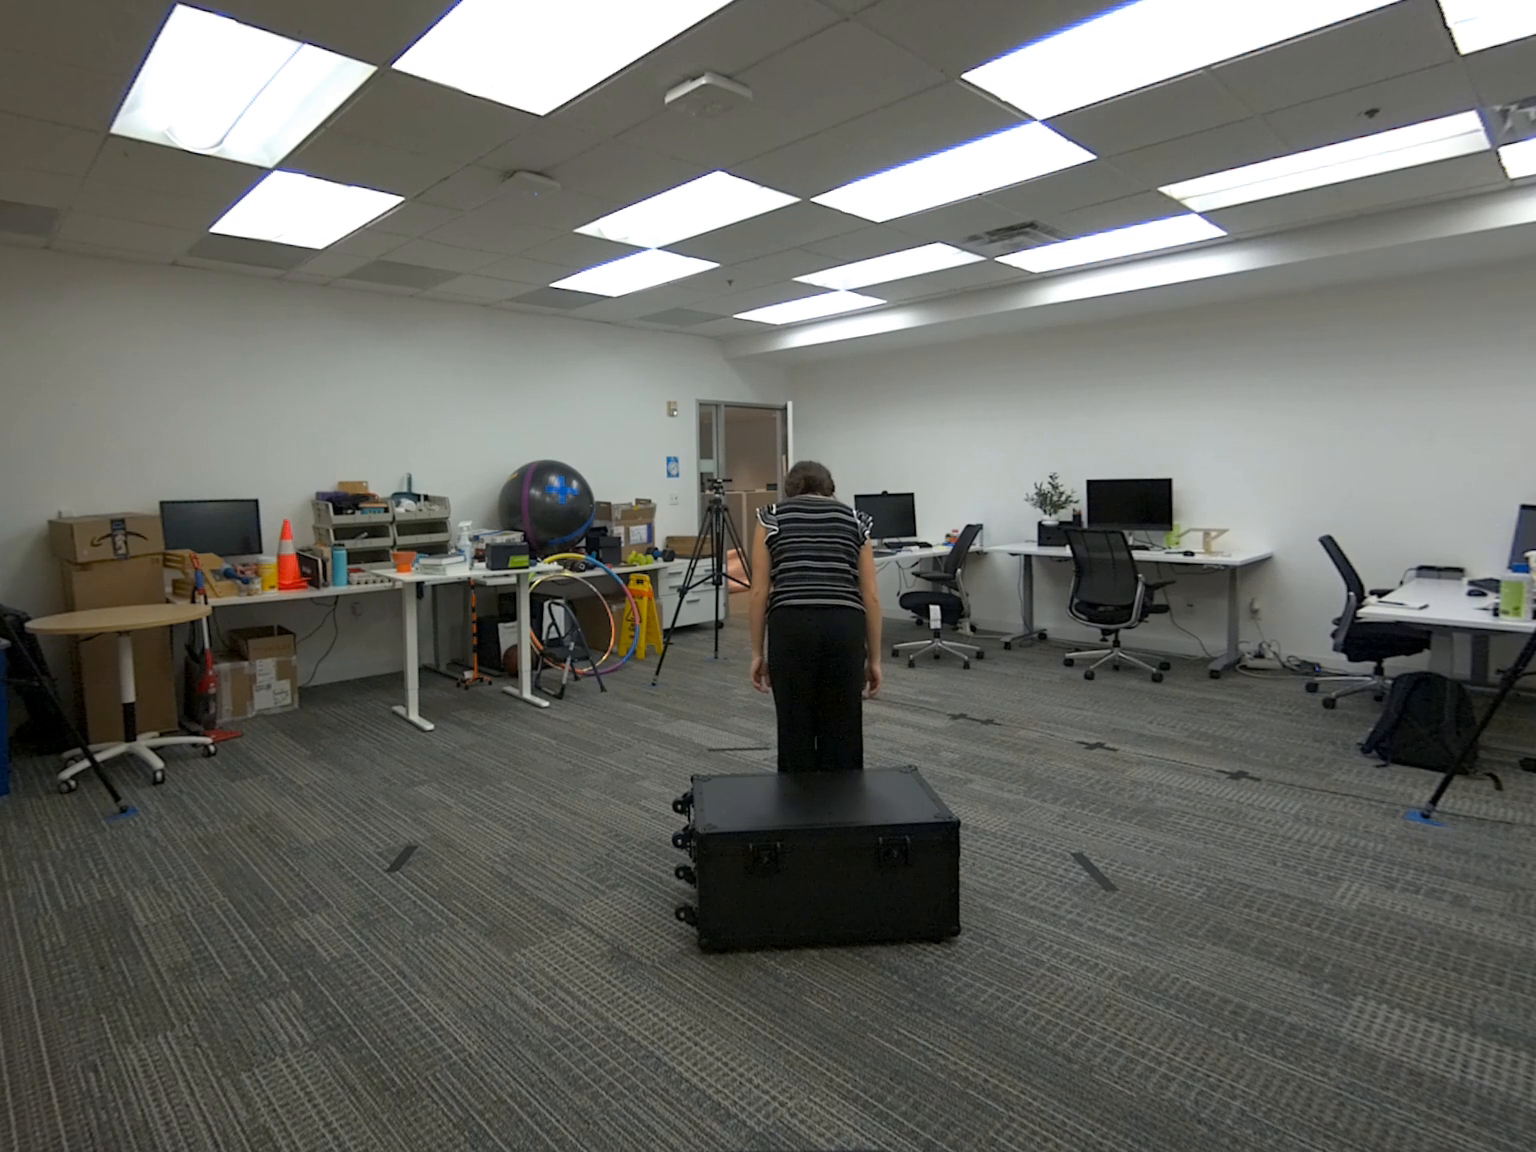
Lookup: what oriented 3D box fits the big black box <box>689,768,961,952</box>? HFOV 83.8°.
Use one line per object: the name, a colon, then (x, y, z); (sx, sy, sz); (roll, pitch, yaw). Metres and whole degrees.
big black box: (0.122, 0.890, 2.750); (0.858, 0.395, 0.526); (-1, 5, -5)
